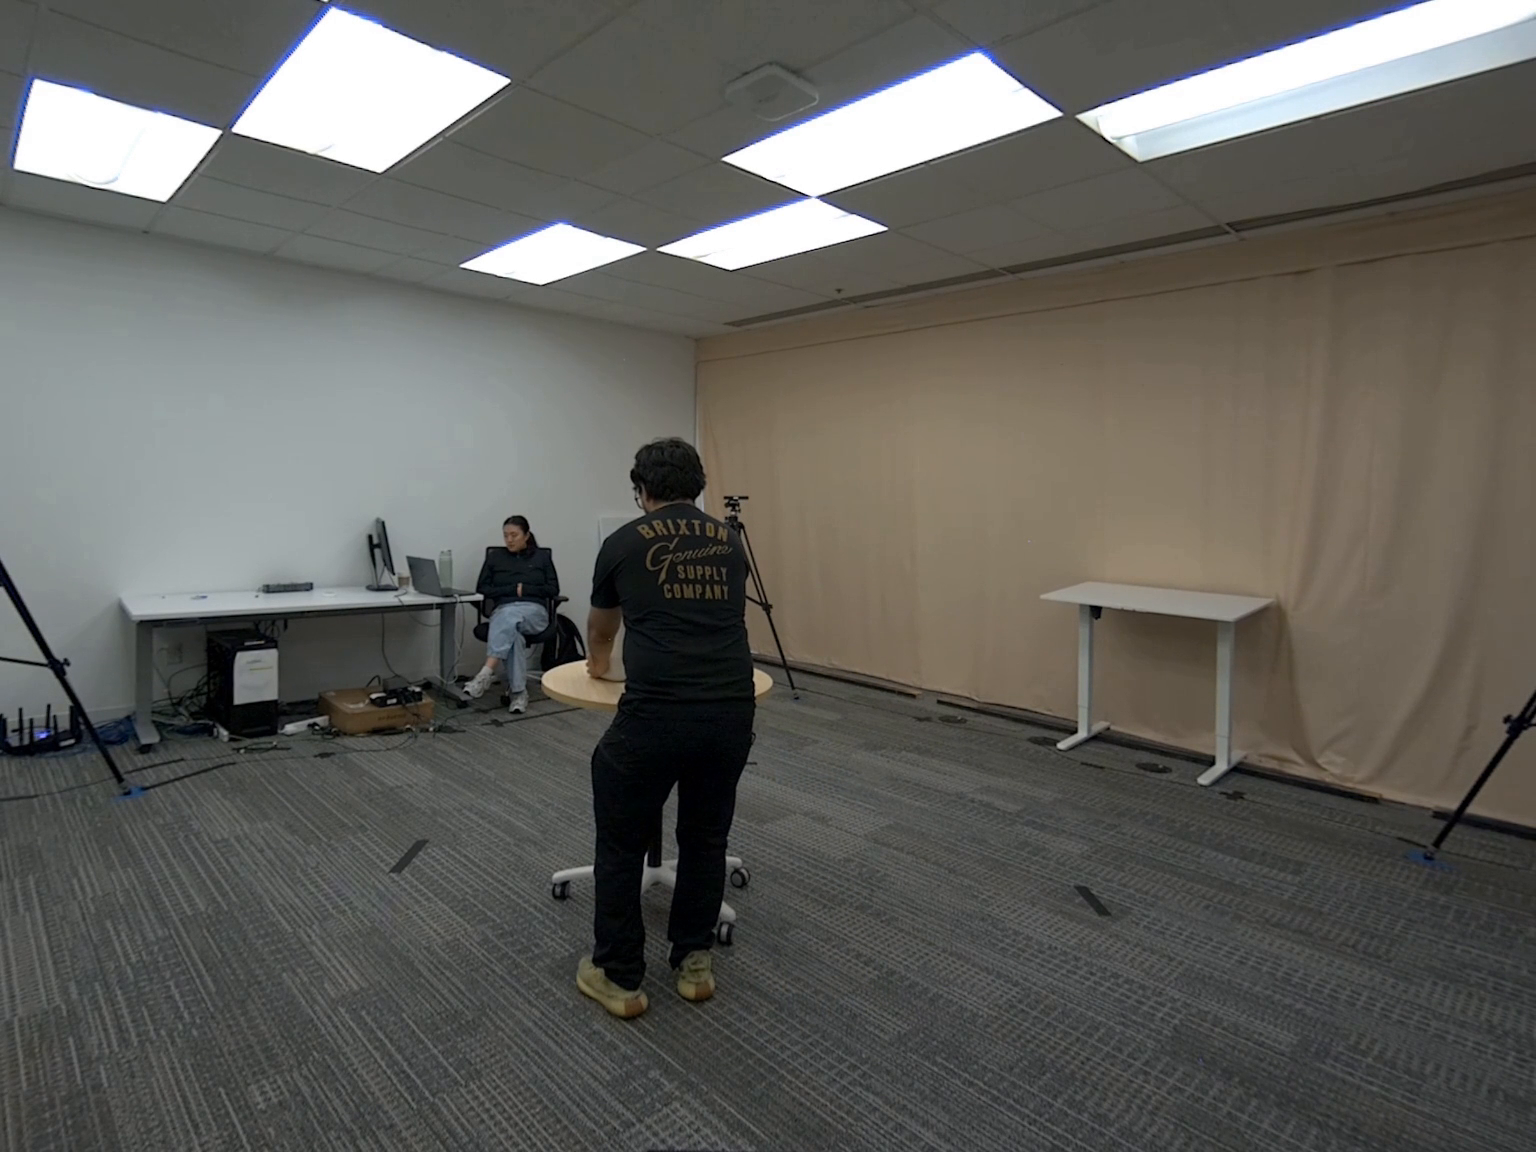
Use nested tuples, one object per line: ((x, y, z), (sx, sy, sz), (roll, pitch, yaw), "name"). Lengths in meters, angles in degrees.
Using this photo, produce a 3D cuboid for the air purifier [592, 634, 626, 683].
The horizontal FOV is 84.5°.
((-0.486, 0.206, 2.803), (0.176, 0.265, 0.167), (2, 3, 40), "air purifier")
